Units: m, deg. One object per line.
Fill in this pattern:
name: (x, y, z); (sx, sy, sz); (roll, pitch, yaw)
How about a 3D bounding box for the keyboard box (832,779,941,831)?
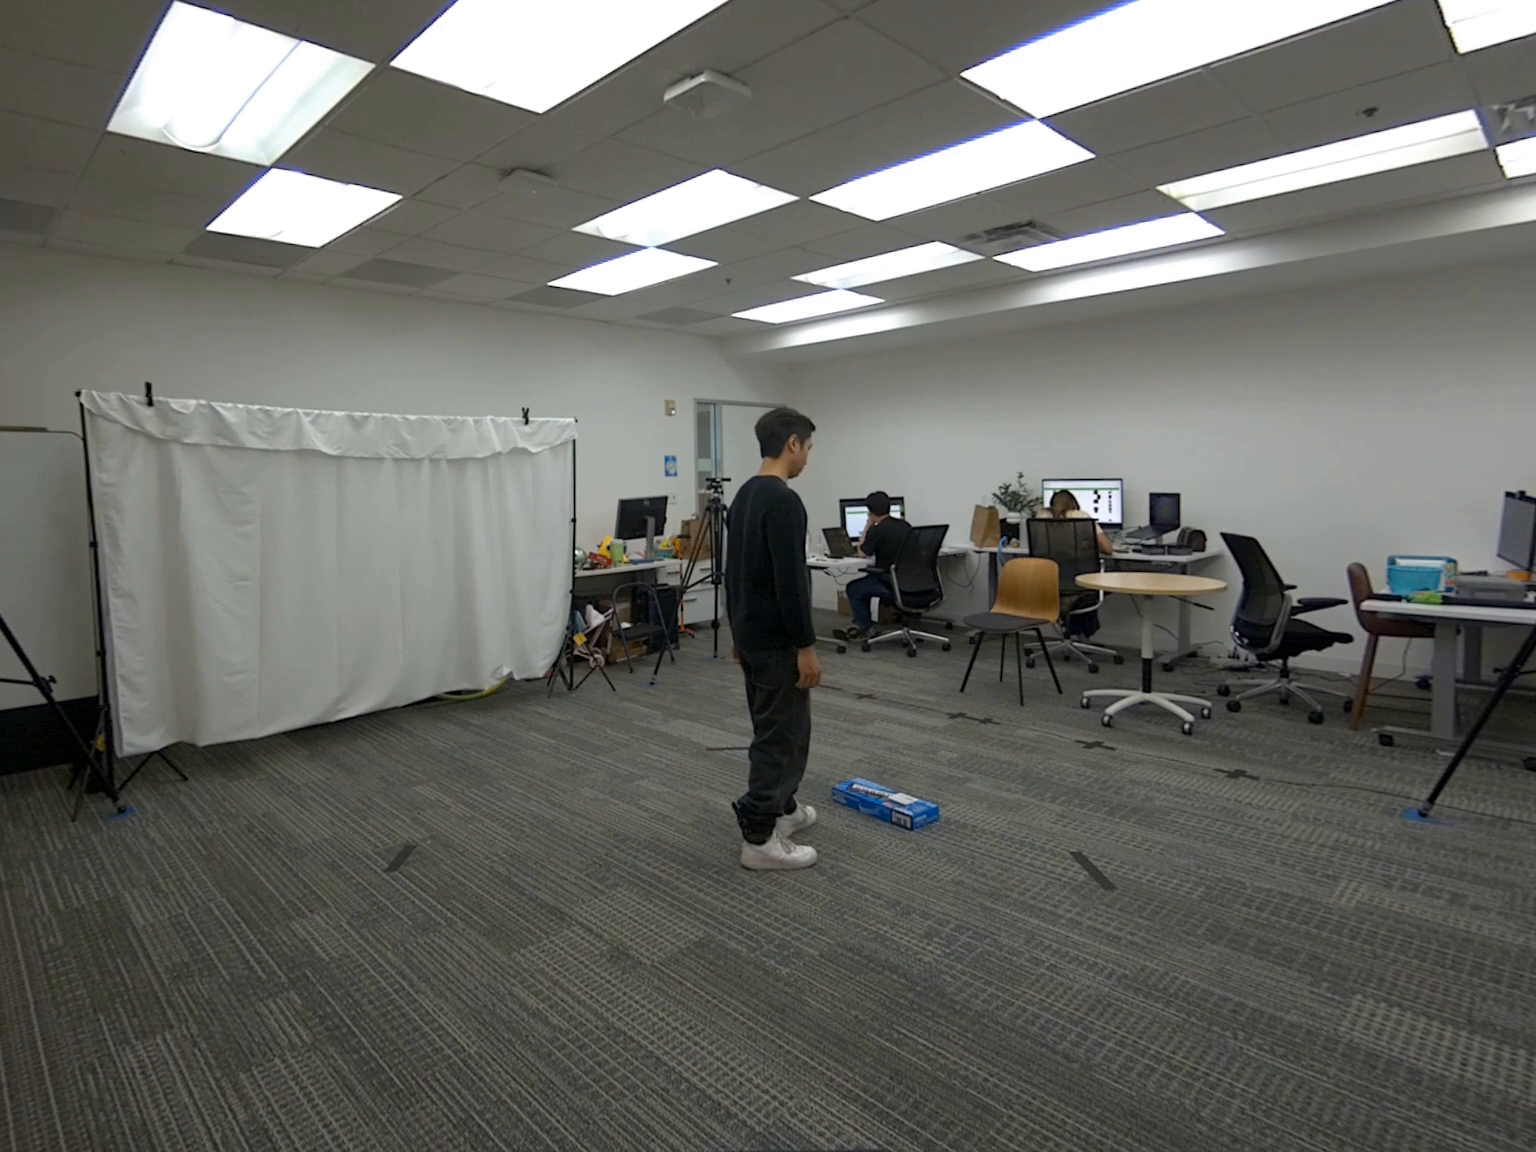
keyboard box: (0.489, 0.951, 3.587); (0.171, 0.059, 0.450); (-5, 8, -40)
